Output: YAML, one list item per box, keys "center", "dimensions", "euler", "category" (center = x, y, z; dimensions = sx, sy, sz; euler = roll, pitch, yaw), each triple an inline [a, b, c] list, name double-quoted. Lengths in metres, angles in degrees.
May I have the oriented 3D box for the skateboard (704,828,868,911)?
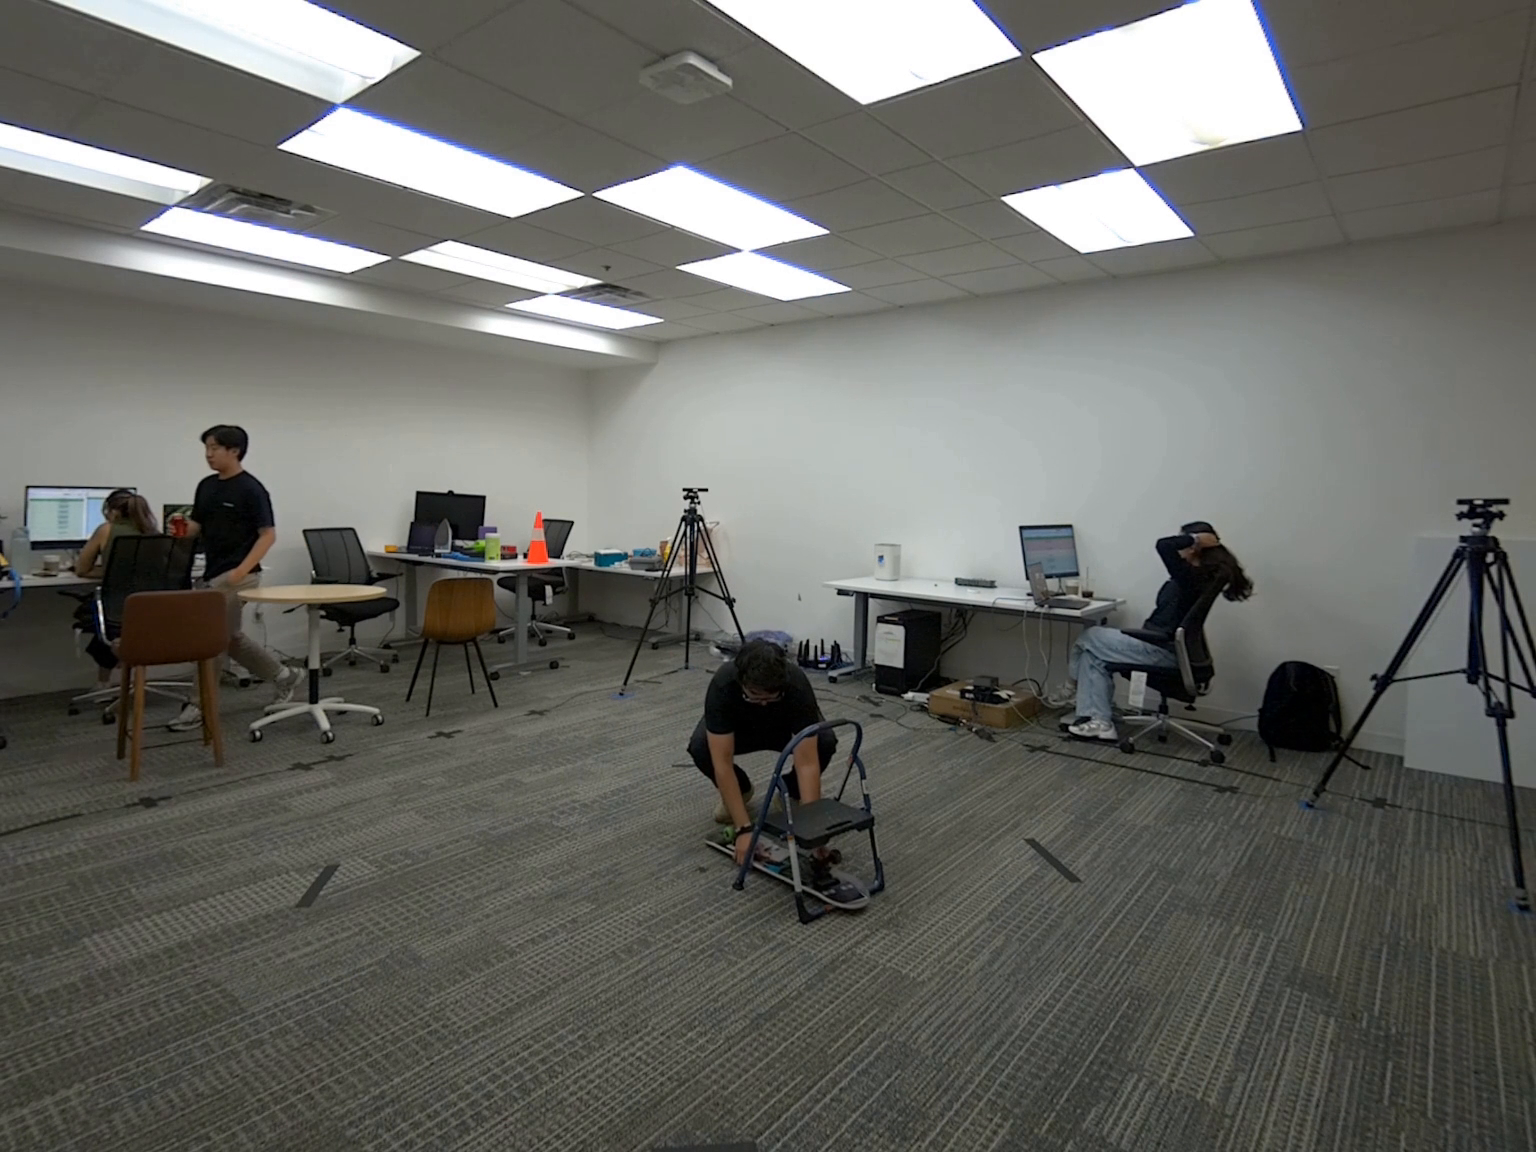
- center: [0.040, 1.014, 3.111]
  dimensions: [0.188, 0.110, 0.811]
  euler: [-5, 6, -41]
  category: "skateboard"
